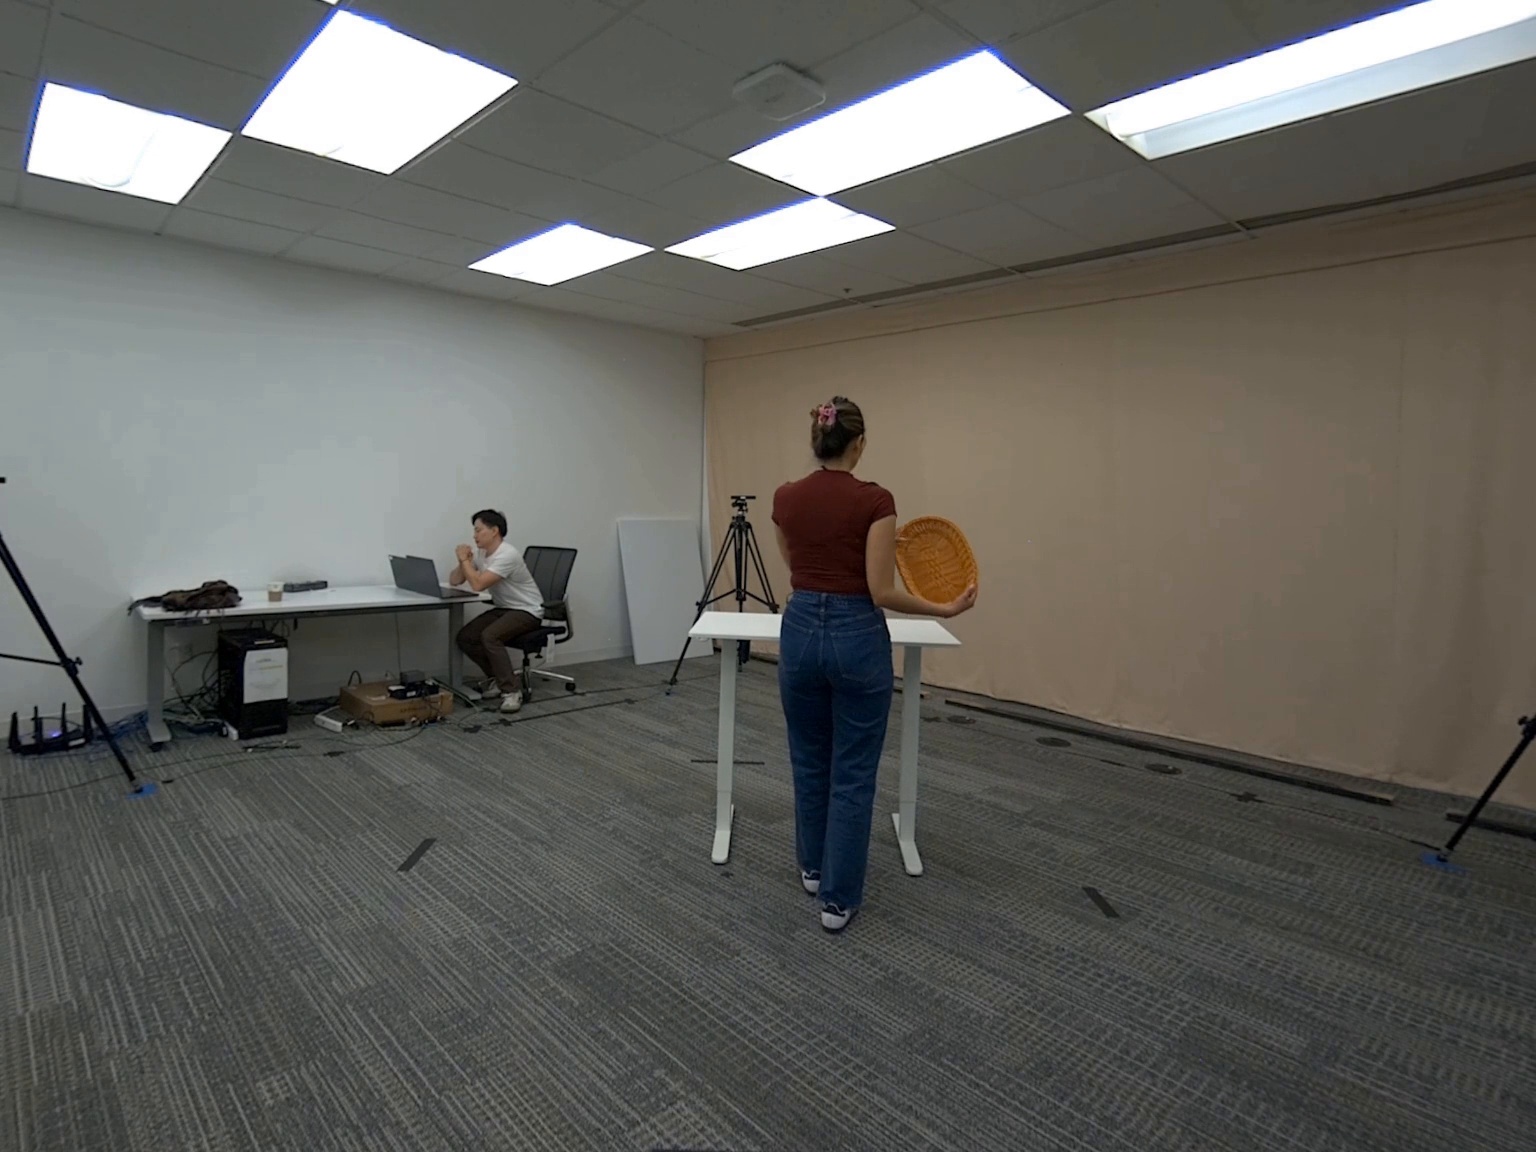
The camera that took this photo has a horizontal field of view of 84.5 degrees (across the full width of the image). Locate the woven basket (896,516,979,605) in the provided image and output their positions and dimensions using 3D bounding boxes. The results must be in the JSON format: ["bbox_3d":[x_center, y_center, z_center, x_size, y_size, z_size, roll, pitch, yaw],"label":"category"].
[{"bbox_3d":[0.555,-0.036,2.843,0.254,0.358,0.071,-17,-30,10],"label":"woven basket"}]
